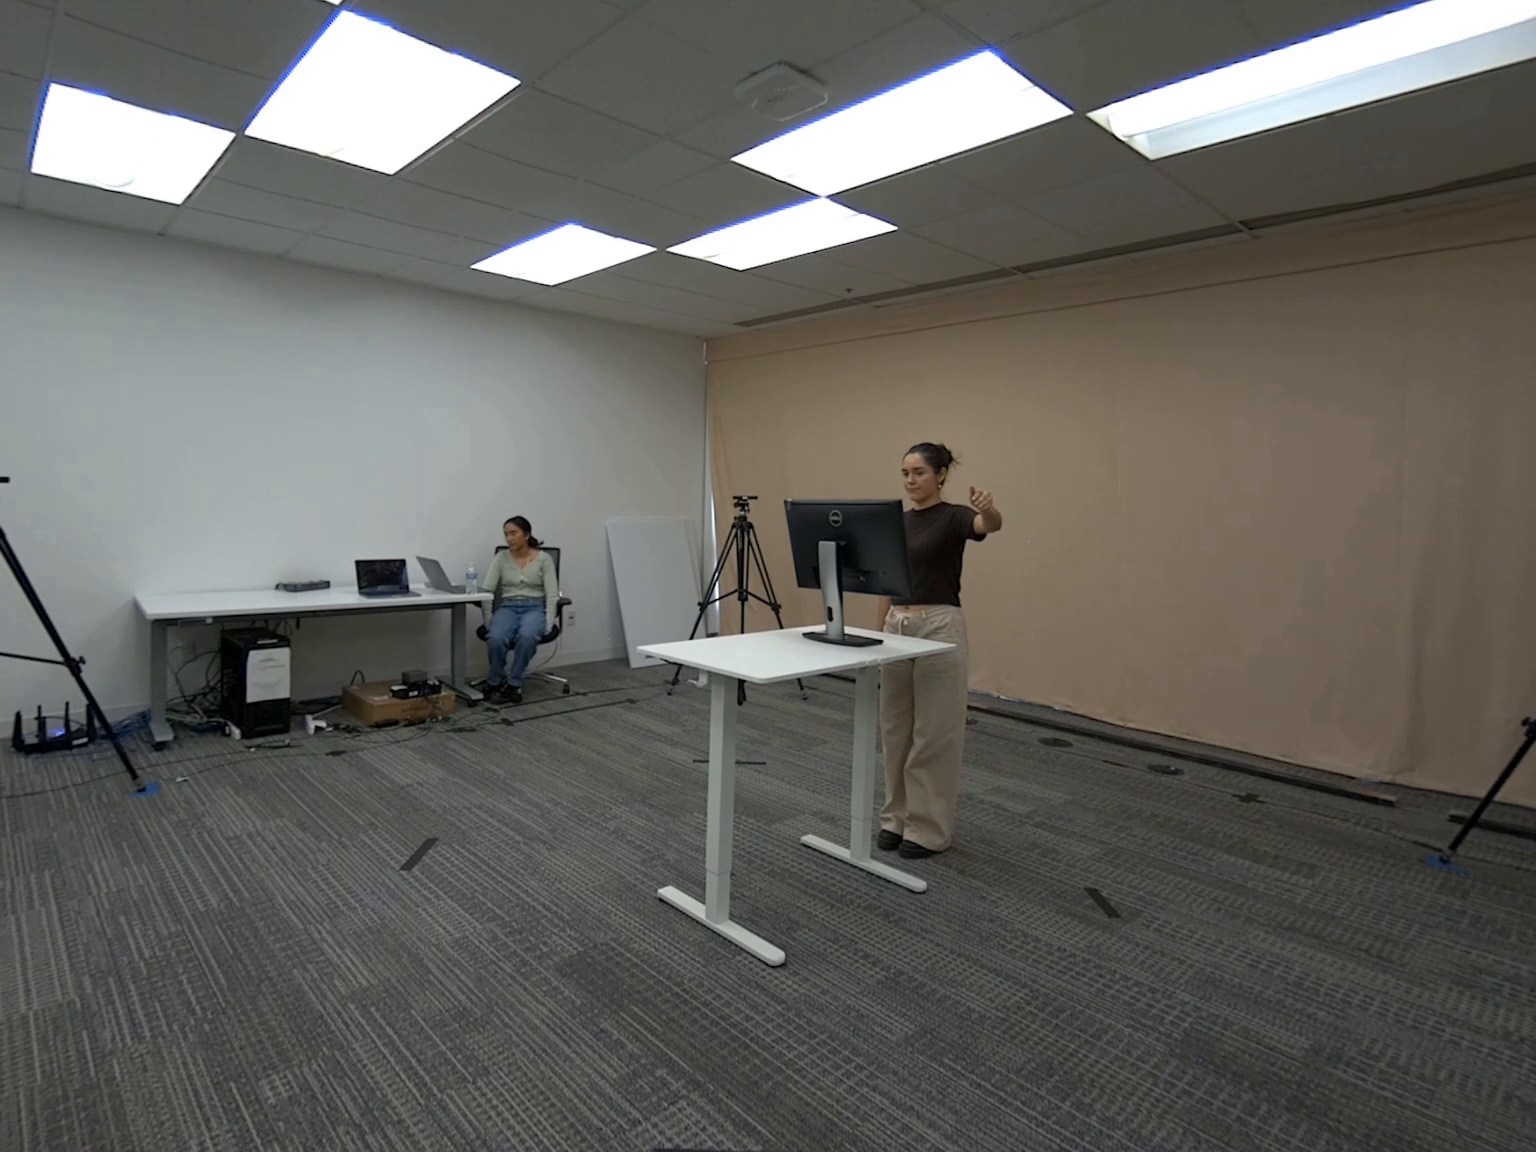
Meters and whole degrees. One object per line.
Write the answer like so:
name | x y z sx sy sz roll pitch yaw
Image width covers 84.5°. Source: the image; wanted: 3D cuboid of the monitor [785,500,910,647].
monitor | 0.260 -0.014 3.042 0.553 0.521 0.183 4 7 44
